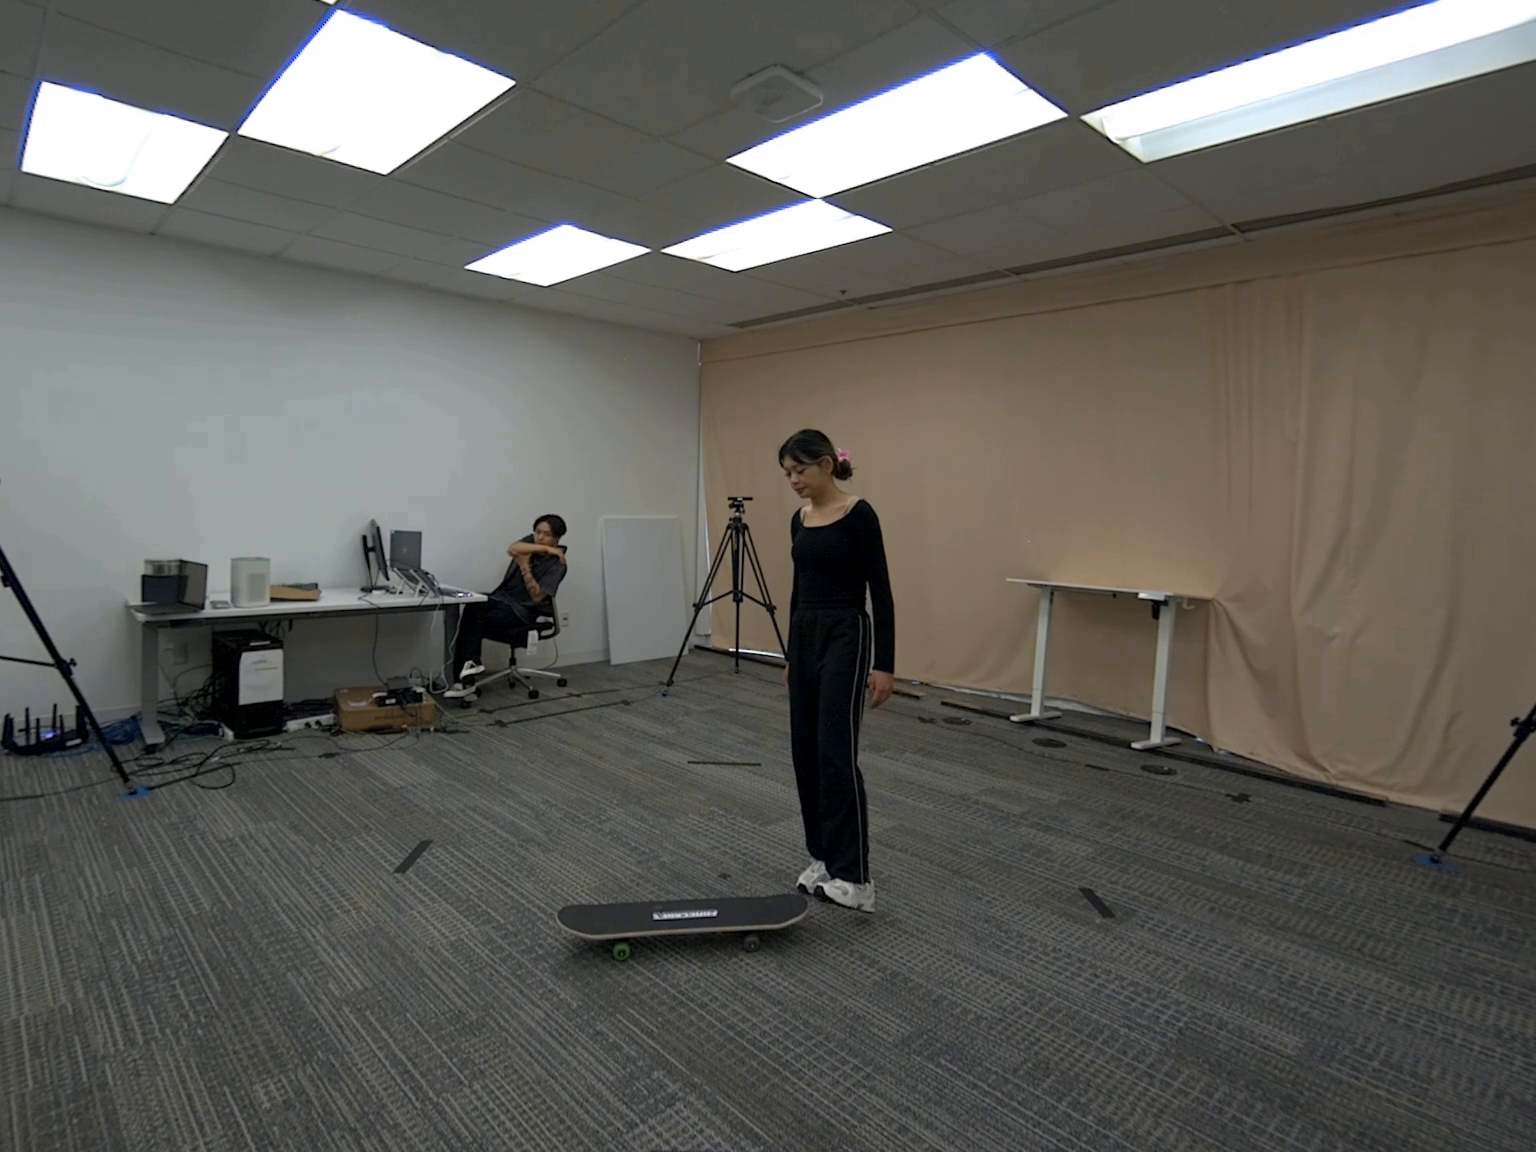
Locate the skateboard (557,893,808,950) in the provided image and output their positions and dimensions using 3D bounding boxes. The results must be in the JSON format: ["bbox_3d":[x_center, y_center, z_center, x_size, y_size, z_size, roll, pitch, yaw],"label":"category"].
[{"bbox_3d":[-0.263,1.094,2.624,0.780,0.110,0.195,1,3,-9],"label":"skateboard"}]
